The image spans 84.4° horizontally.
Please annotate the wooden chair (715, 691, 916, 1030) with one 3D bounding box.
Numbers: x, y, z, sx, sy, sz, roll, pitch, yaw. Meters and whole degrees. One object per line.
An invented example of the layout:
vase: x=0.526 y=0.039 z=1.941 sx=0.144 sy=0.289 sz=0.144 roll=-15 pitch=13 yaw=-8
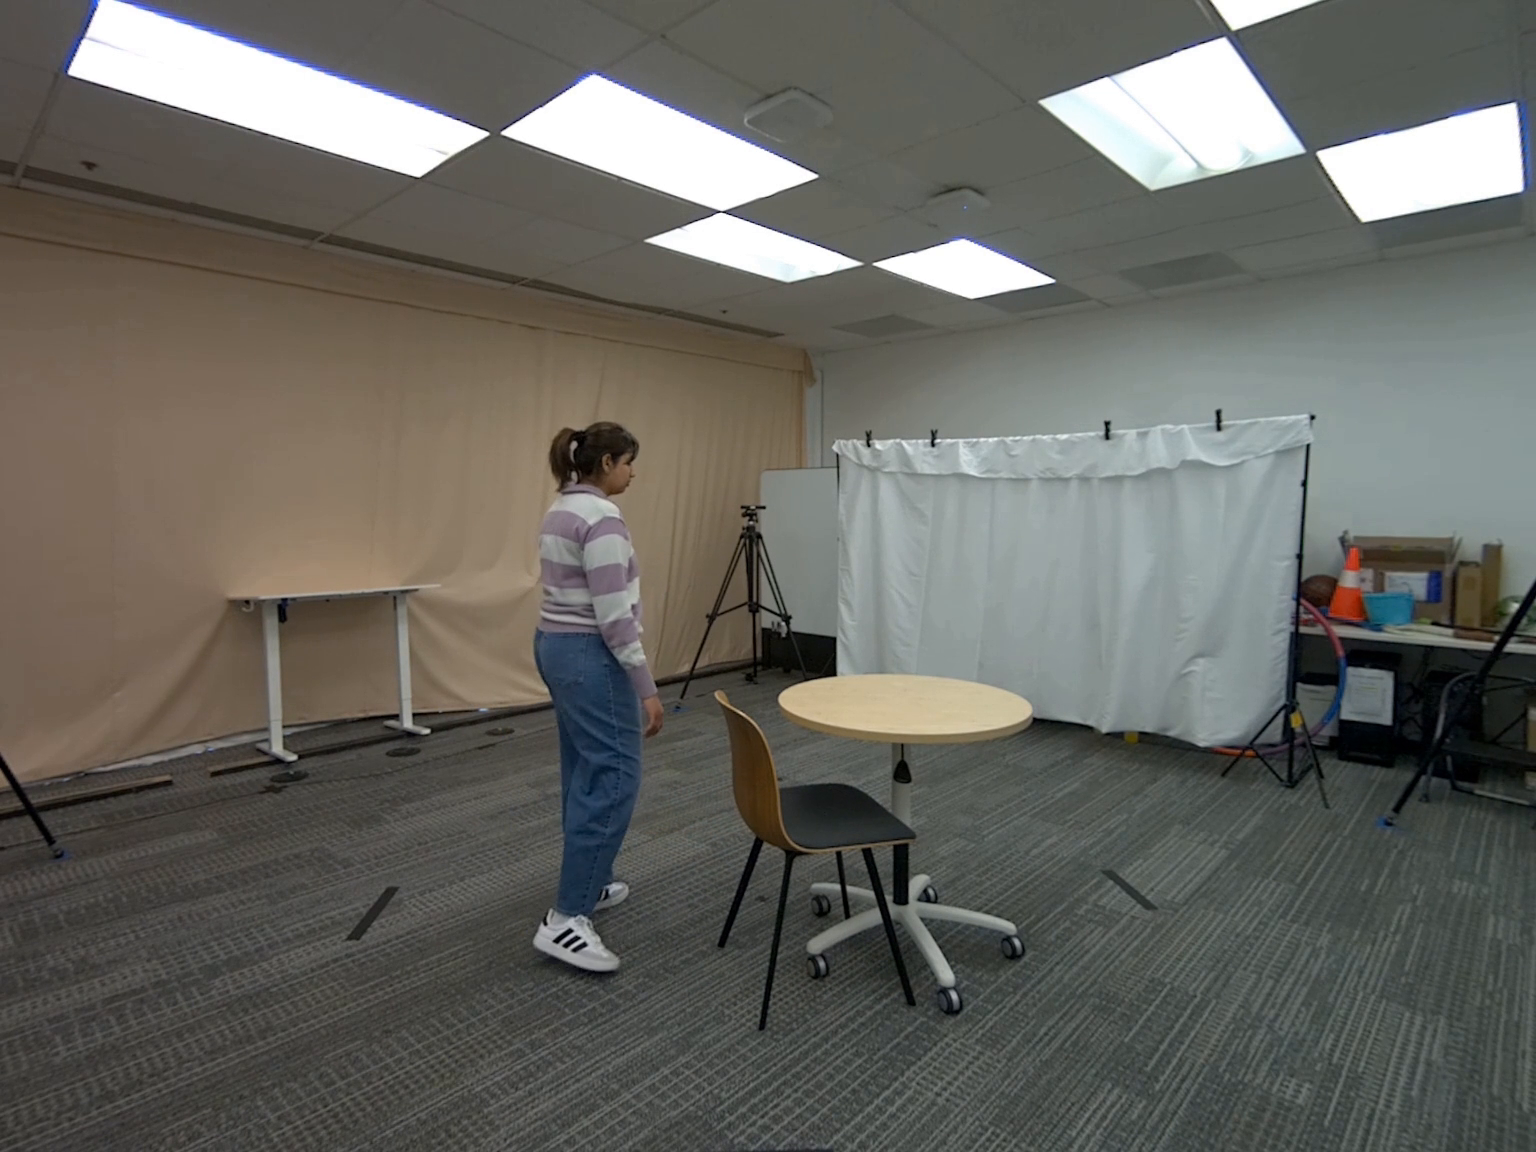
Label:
wooden chair: x=0.136 y=0.761 z=2.475 sx=0.515 sy=0.875 sz=0.487 roll=-5 pitch=4 yaw=-17
